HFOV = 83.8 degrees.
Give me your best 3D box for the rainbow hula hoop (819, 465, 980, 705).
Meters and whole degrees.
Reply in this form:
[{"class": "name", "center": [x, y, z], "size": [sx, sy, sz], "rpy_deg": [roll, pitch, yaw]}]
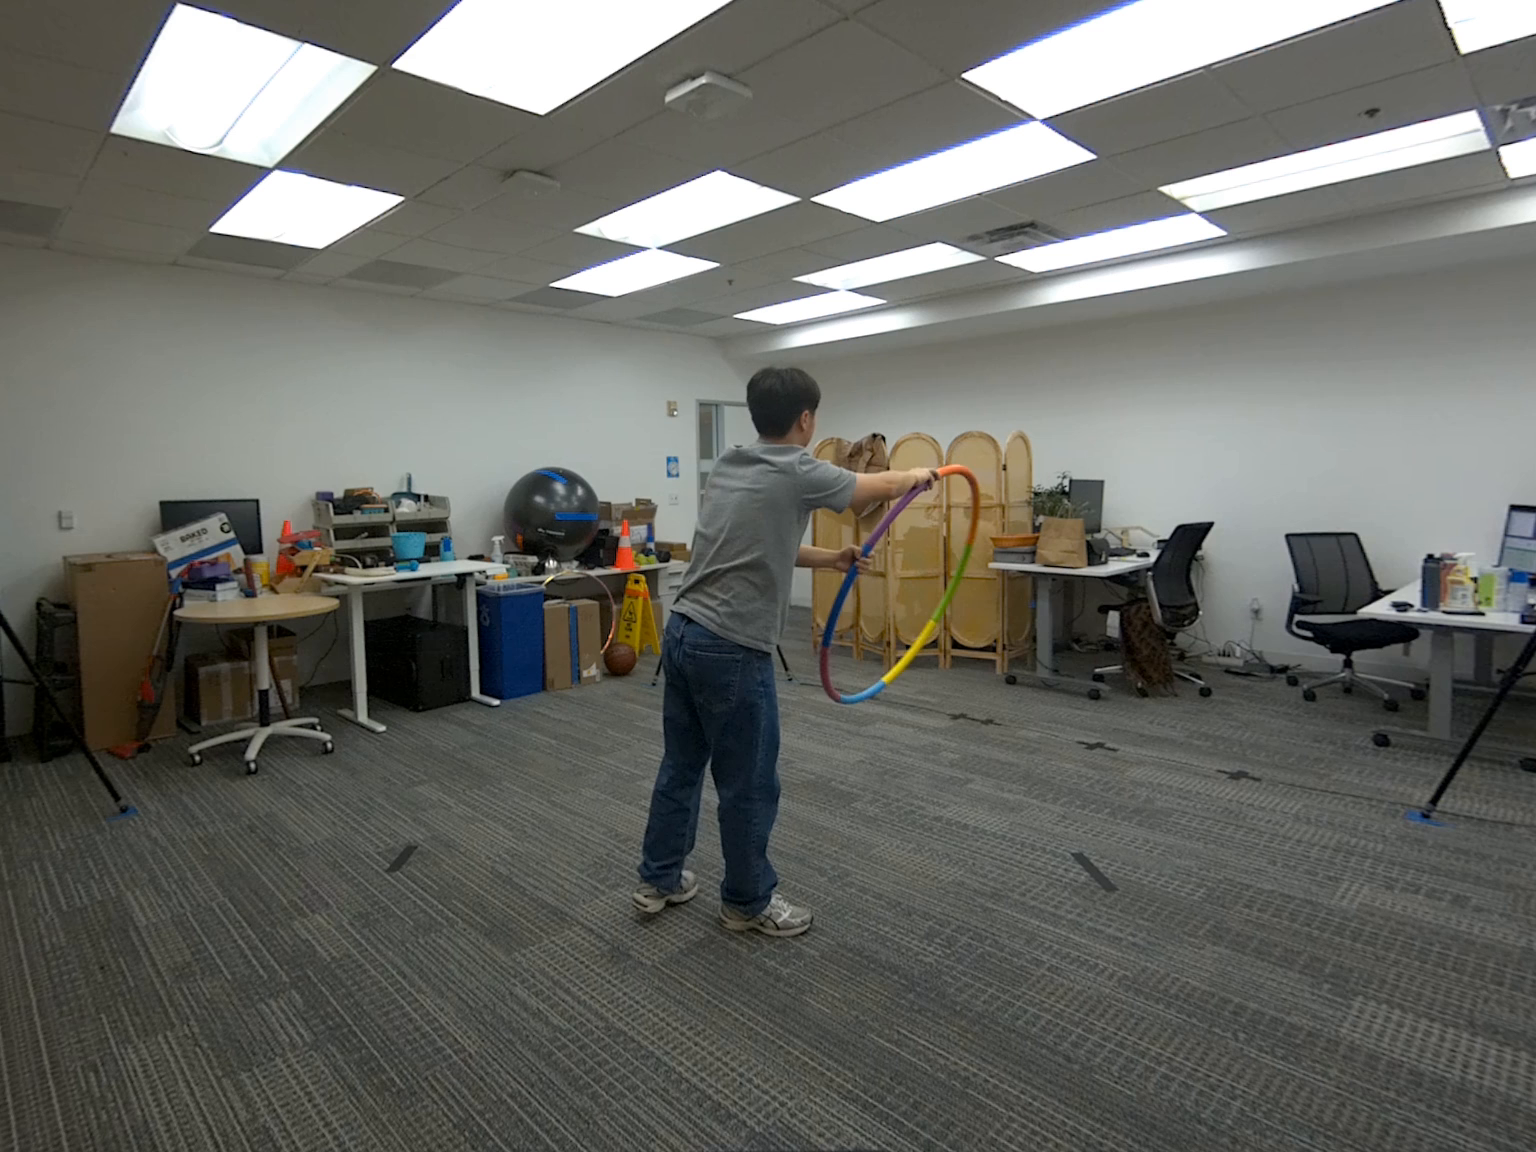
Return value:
[{"class": "rainbow hula hoop", "center": [0.495, 0.051, 3.154], "size": [0.037, 0.969, 0.954], "rpy_deg": [30, 22, 30]}]
